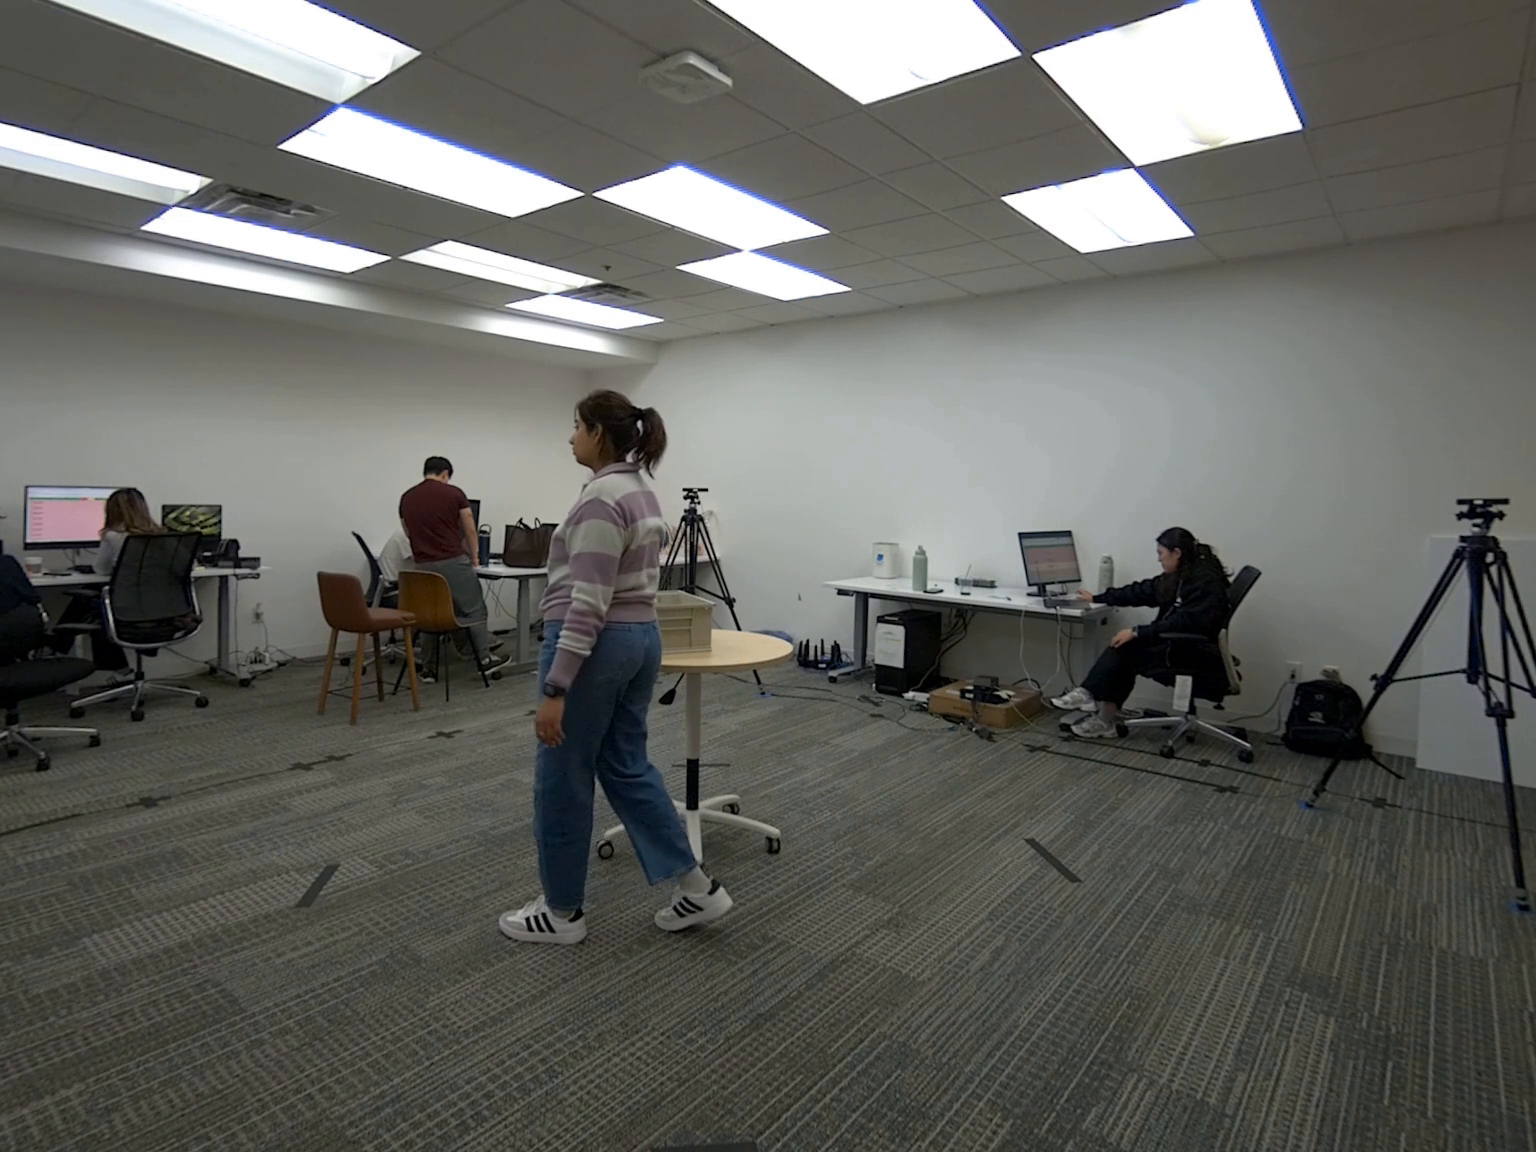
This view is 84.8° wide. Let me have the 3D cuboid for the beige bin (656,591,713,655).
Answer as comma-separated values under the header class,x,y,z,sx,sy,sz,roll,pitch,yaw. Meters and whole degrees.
class,x,y,z,sx,sy,sz,roll,pitch,yaw
beige bin,-0.449,0.176,3.308,0.370,0.188,0.432,-1,5,-20
